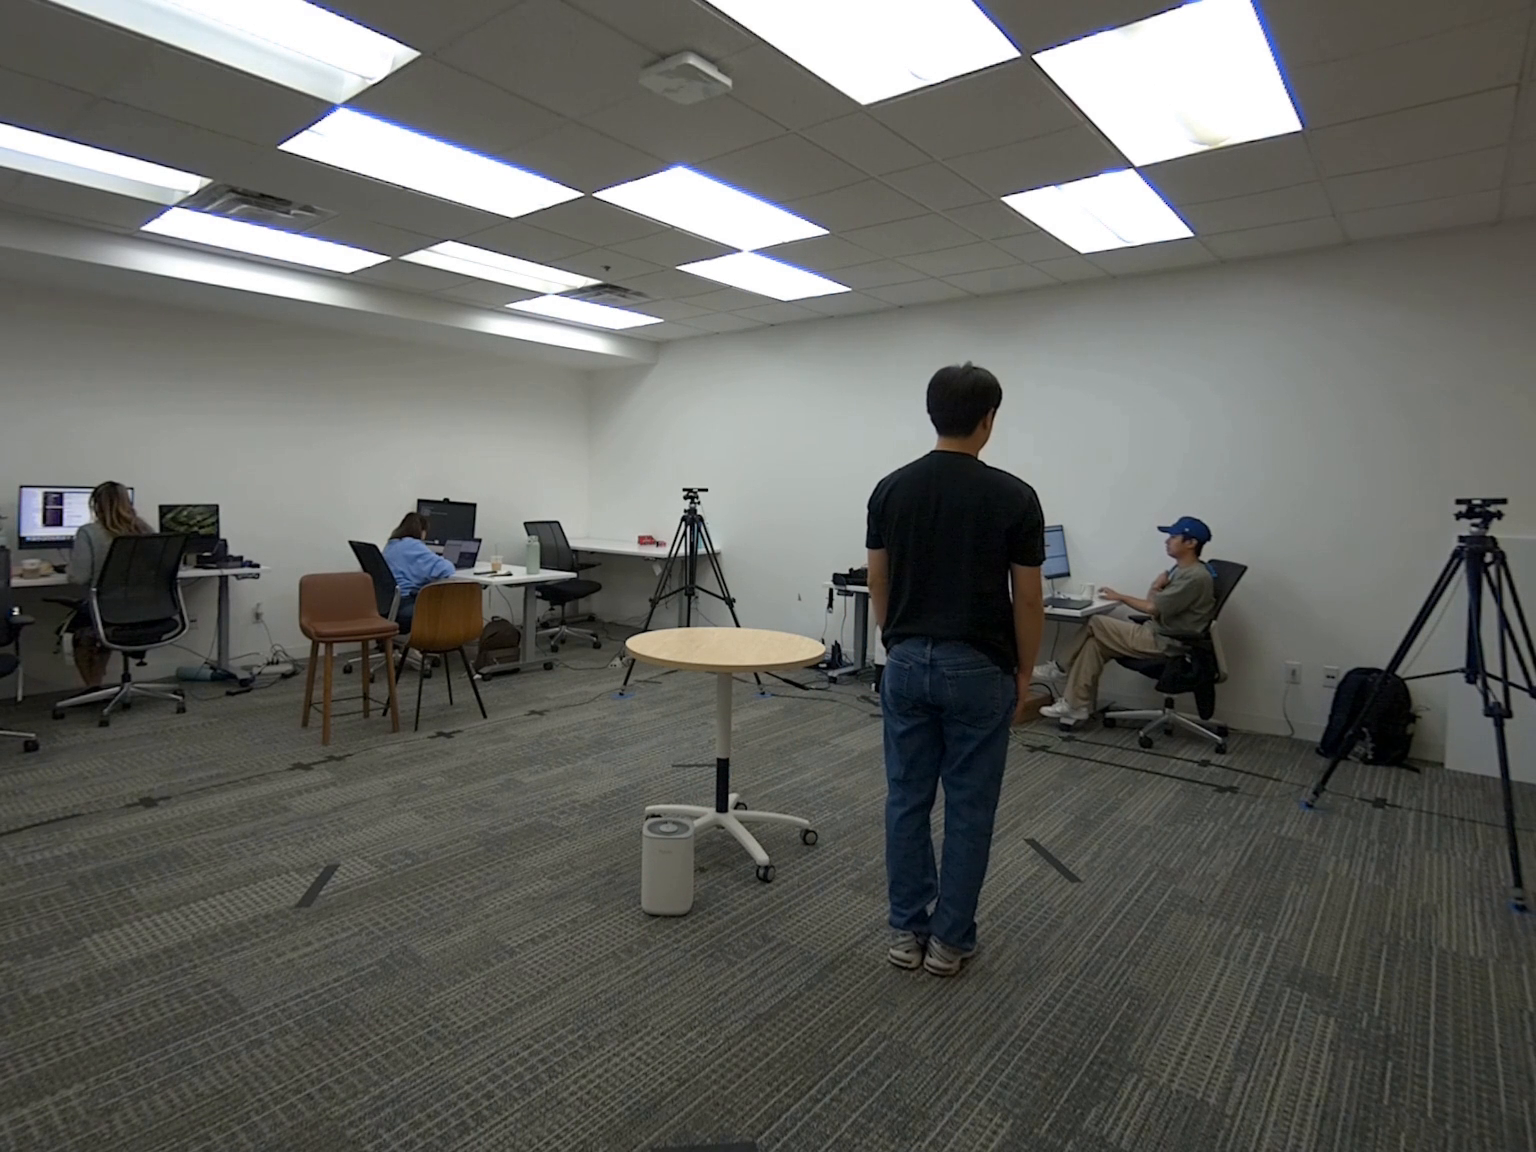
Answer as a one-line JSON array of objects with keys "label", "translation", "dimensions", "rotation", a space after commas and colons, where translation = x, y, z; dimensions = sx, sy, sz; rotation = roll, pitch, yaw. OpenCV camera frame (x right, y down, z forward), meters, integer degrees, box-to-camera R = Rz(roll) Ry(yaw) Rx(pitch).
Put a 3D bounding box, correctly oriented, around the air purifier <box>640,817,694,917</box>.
[{"label": "air purifier", "translation": [-0.338, 0.961, 2.821], "dimensions": [0.171, 0.264, 0.172], "rotation": [1, 3, -2]}]
